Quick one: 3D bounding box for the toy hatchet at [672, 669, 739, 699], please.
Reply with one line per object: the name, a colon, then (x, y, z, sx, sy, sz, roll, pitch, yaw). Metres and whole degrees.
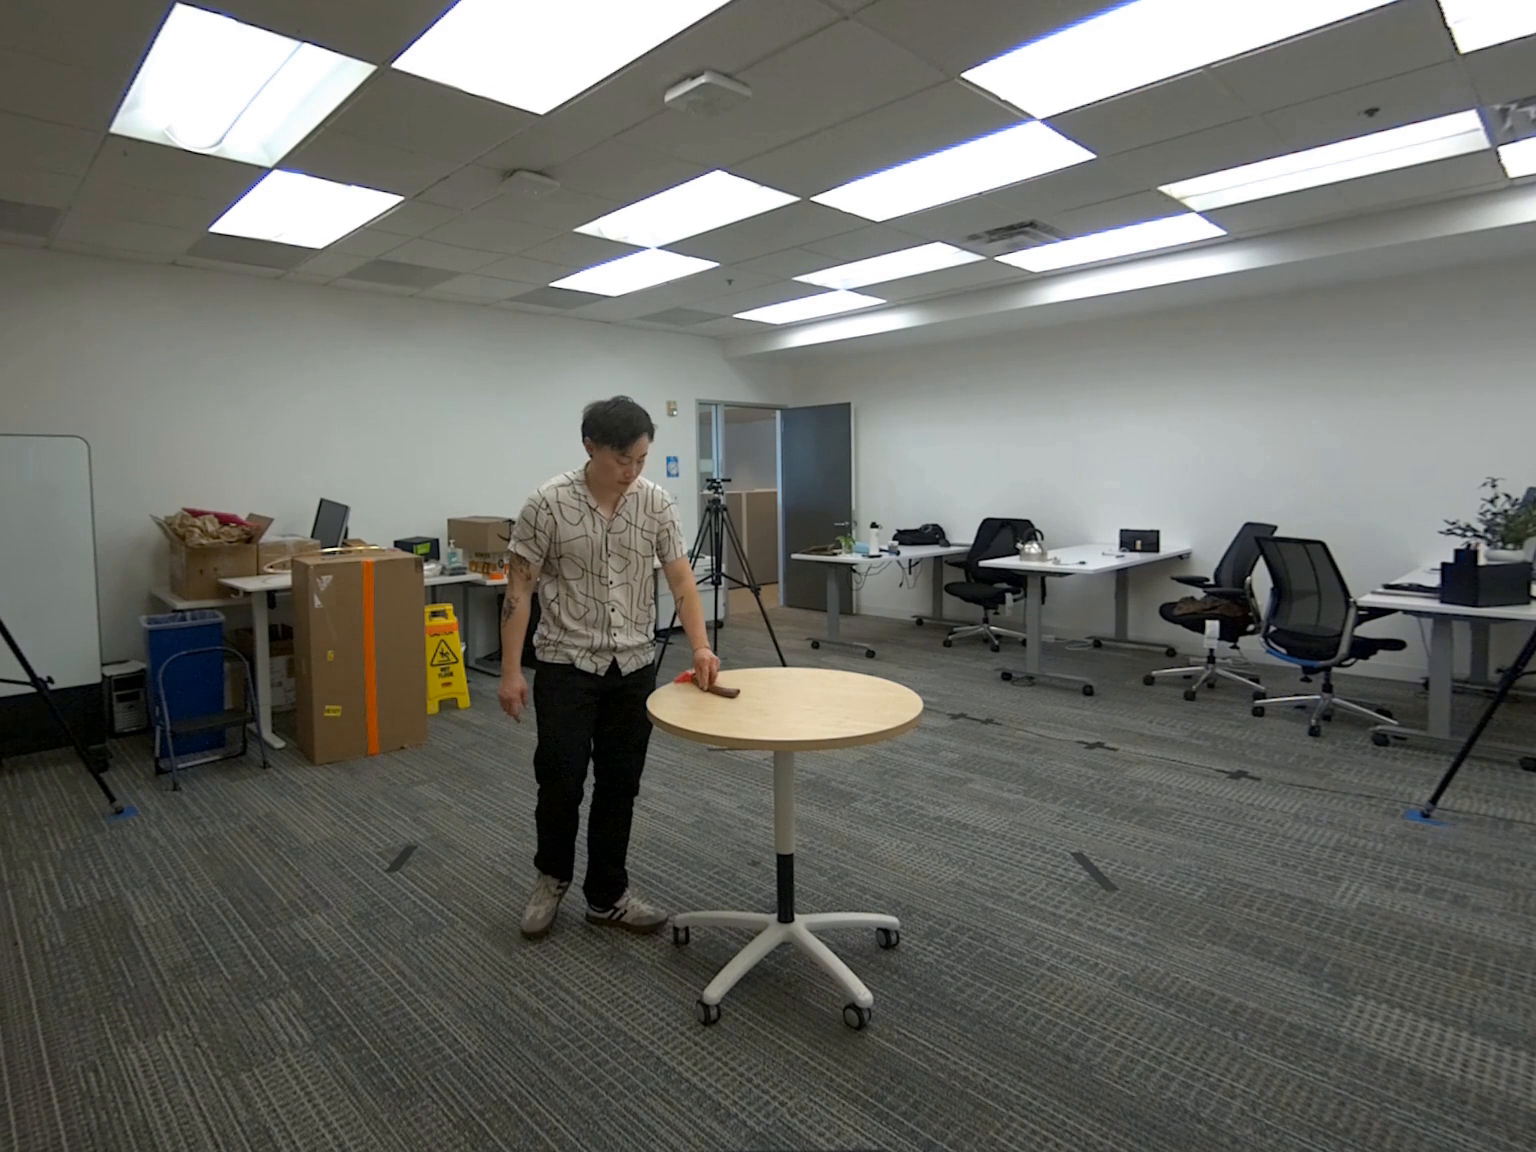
toy hatchet: (-0.156, 0.318, 2.504, 0.128, 0.029, 0.278, -20, 18, -40)
